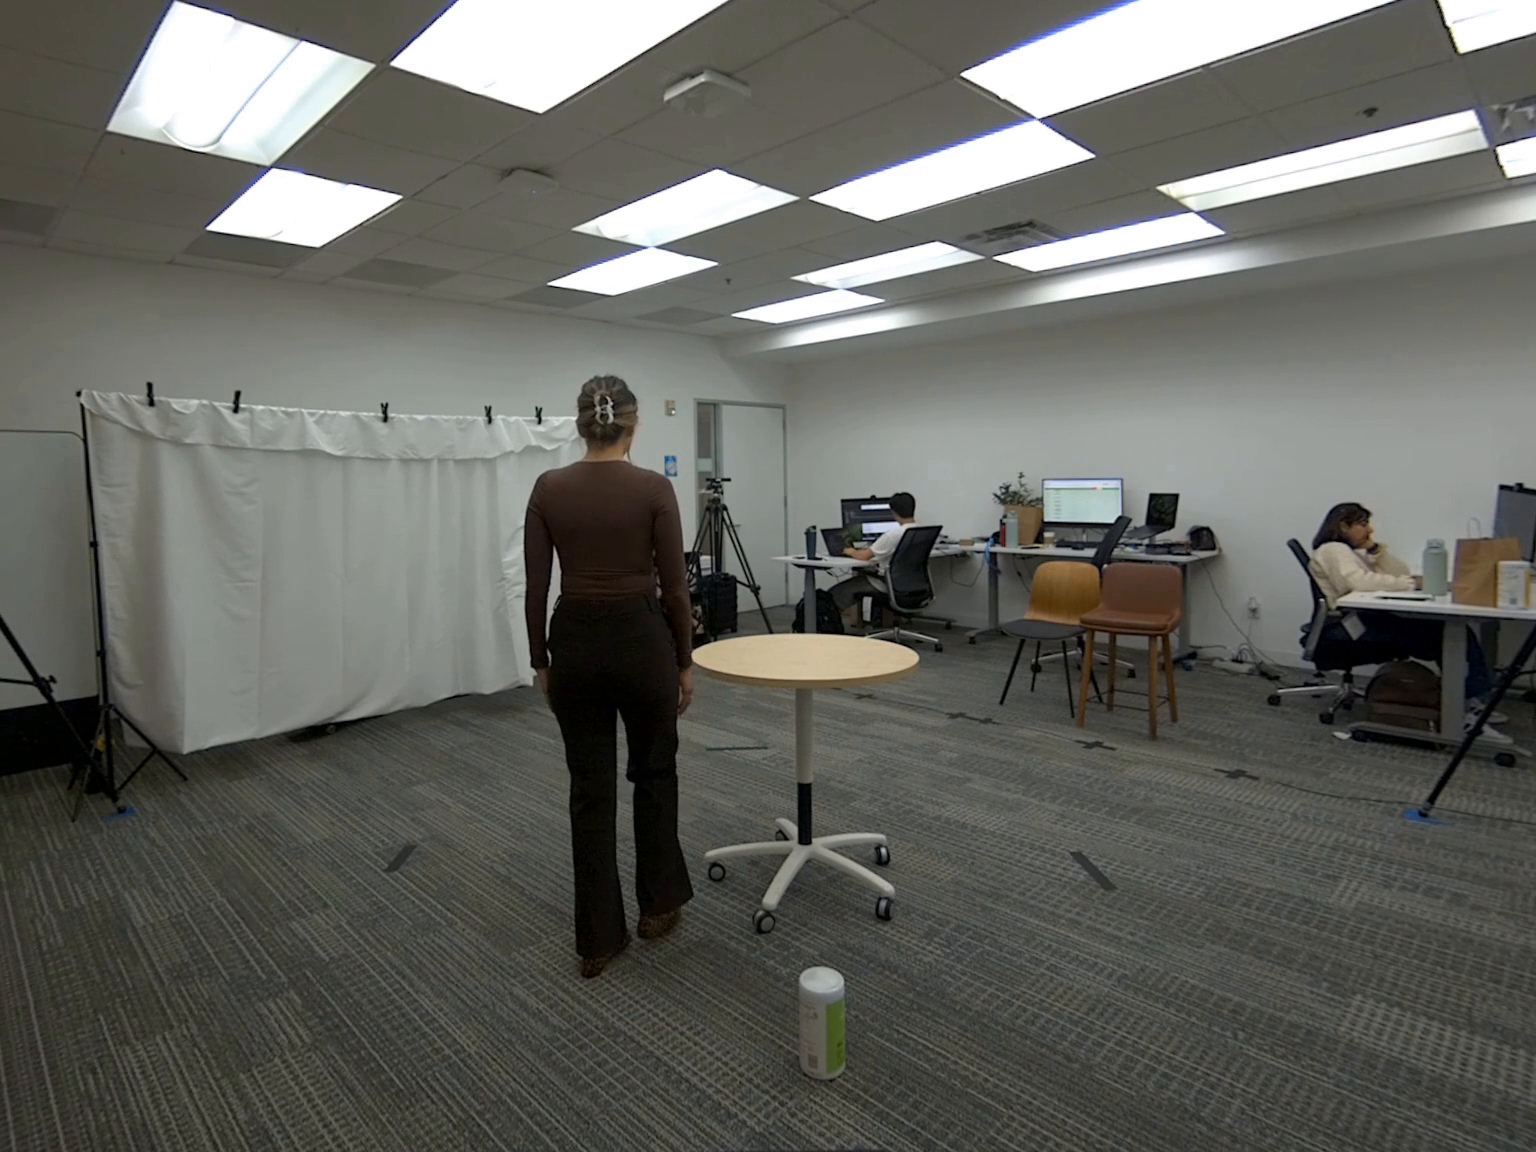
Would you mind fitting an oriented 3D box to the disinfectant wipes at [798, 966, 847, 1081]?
[{"bbox_3d":[0.133,1.053,2.027,0.118,0.216,0.118,1,5,-2],"label":"disinfectant wipes"}]
